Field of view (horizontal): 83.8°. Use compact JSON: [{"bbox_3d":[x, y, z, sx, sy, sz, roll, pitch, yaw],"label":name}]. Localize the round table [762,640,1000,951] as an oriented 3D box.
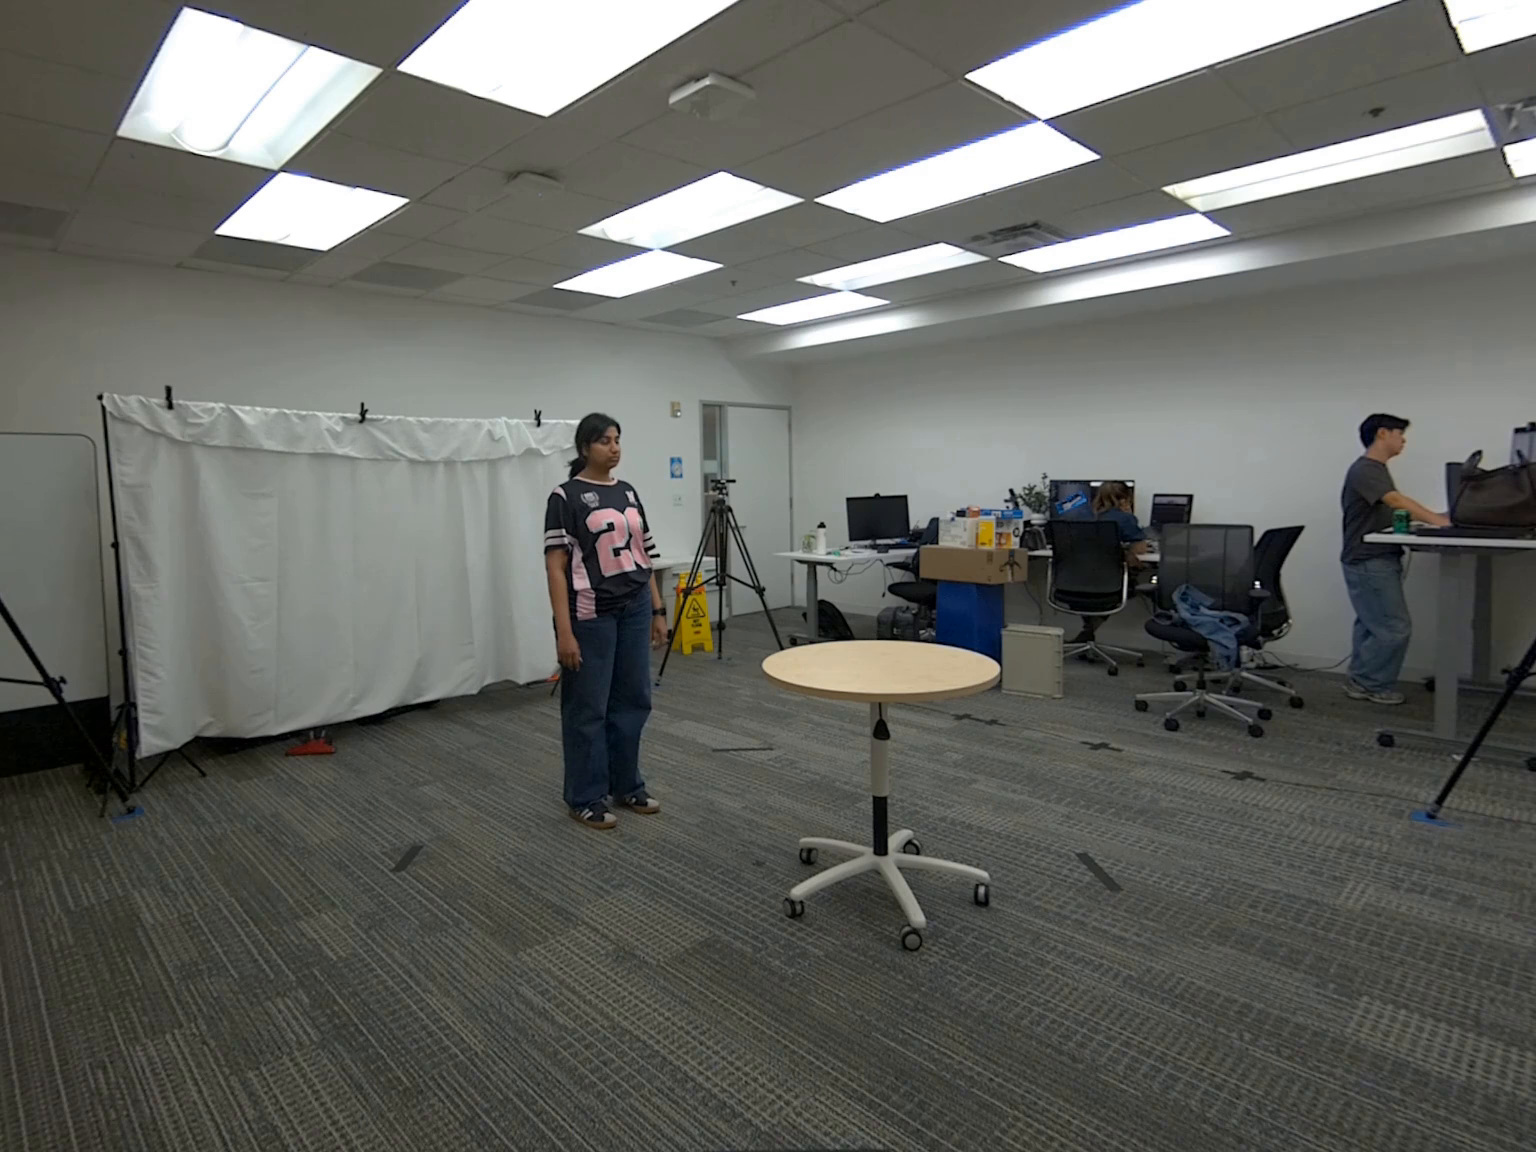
[{"bbox_3d":[0.369,0.674,2.855,0.784,0.783,0.789,-1,6,-2],"label":"round table"}]
